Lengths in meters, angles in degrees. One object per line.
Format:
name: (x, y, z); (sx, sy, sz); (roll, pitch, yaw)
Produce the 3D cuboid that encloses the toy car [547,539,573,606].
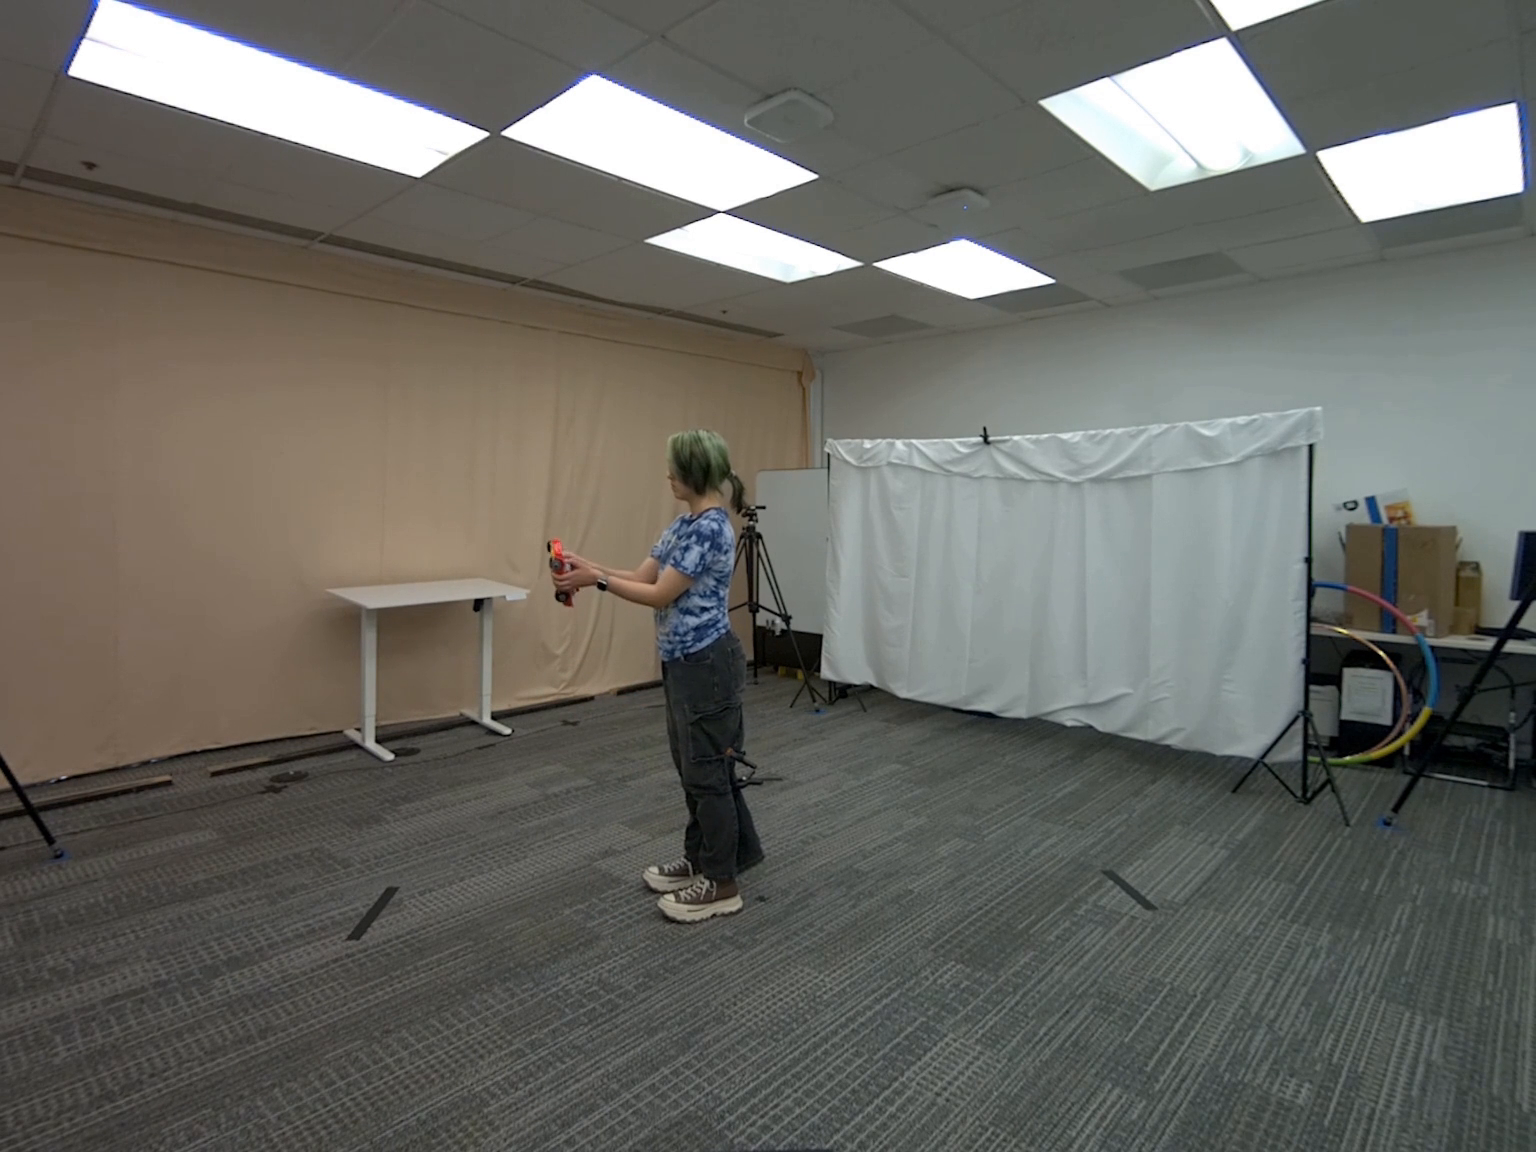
toy car: (-0.704, 0.000, 2.875); (0.083, 0.248, 0.134); (-15, 41, -2)
